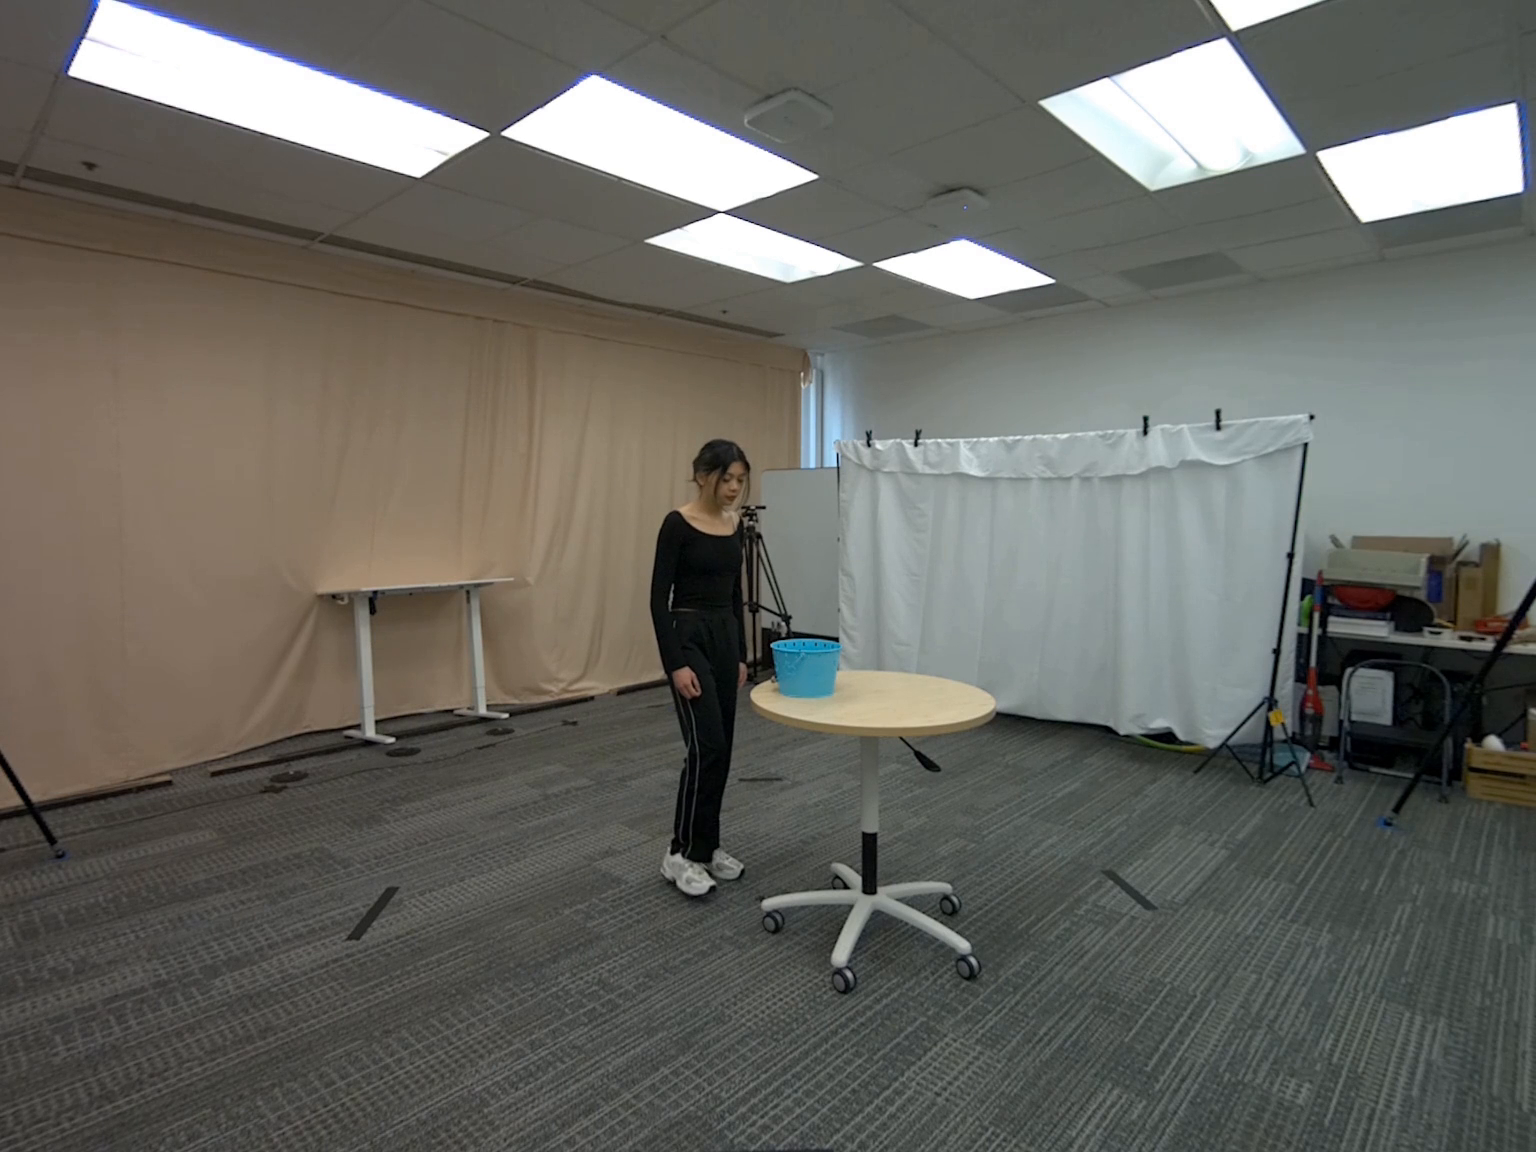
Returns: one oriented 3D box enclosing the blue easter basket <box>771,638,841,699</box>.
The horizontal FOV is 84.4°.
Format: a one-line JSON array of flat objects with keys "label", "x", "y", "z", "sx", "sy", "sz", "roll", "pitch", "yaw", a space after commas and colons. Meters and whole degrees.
[{"label": "blue easter basket", "x": 0.128, "y": 0.302, "z": 2.740, "sx": 0.243, "sy": 0.155, "sz": 0.245, "roll": 0, "pitch": 5, "yaw": -2}]
